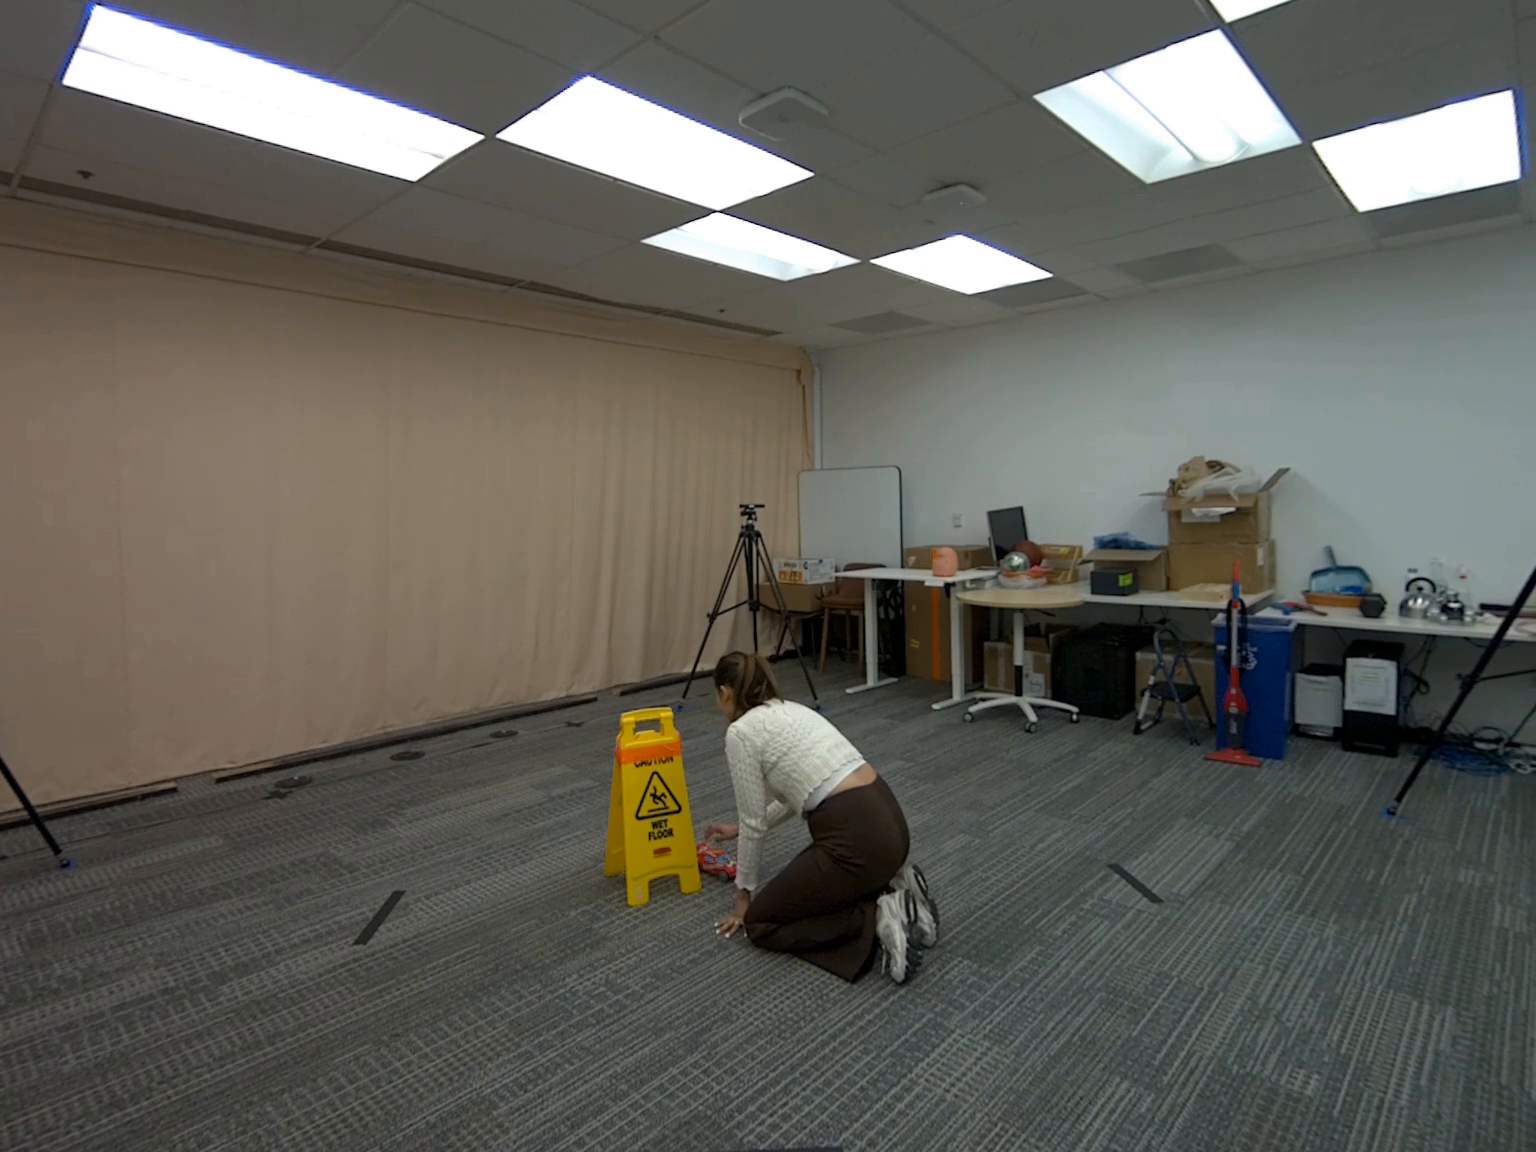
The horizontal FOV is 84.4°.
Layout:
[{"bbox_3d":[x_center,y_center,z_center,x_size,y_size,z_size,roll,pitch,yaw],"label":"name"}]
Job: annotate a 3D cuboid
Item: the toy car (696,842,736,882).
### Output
[{"bbox_3d":[-0.208,1.094,3.217,0.263,0.083,0.126,16,15,37],"label":"toy car"}]
